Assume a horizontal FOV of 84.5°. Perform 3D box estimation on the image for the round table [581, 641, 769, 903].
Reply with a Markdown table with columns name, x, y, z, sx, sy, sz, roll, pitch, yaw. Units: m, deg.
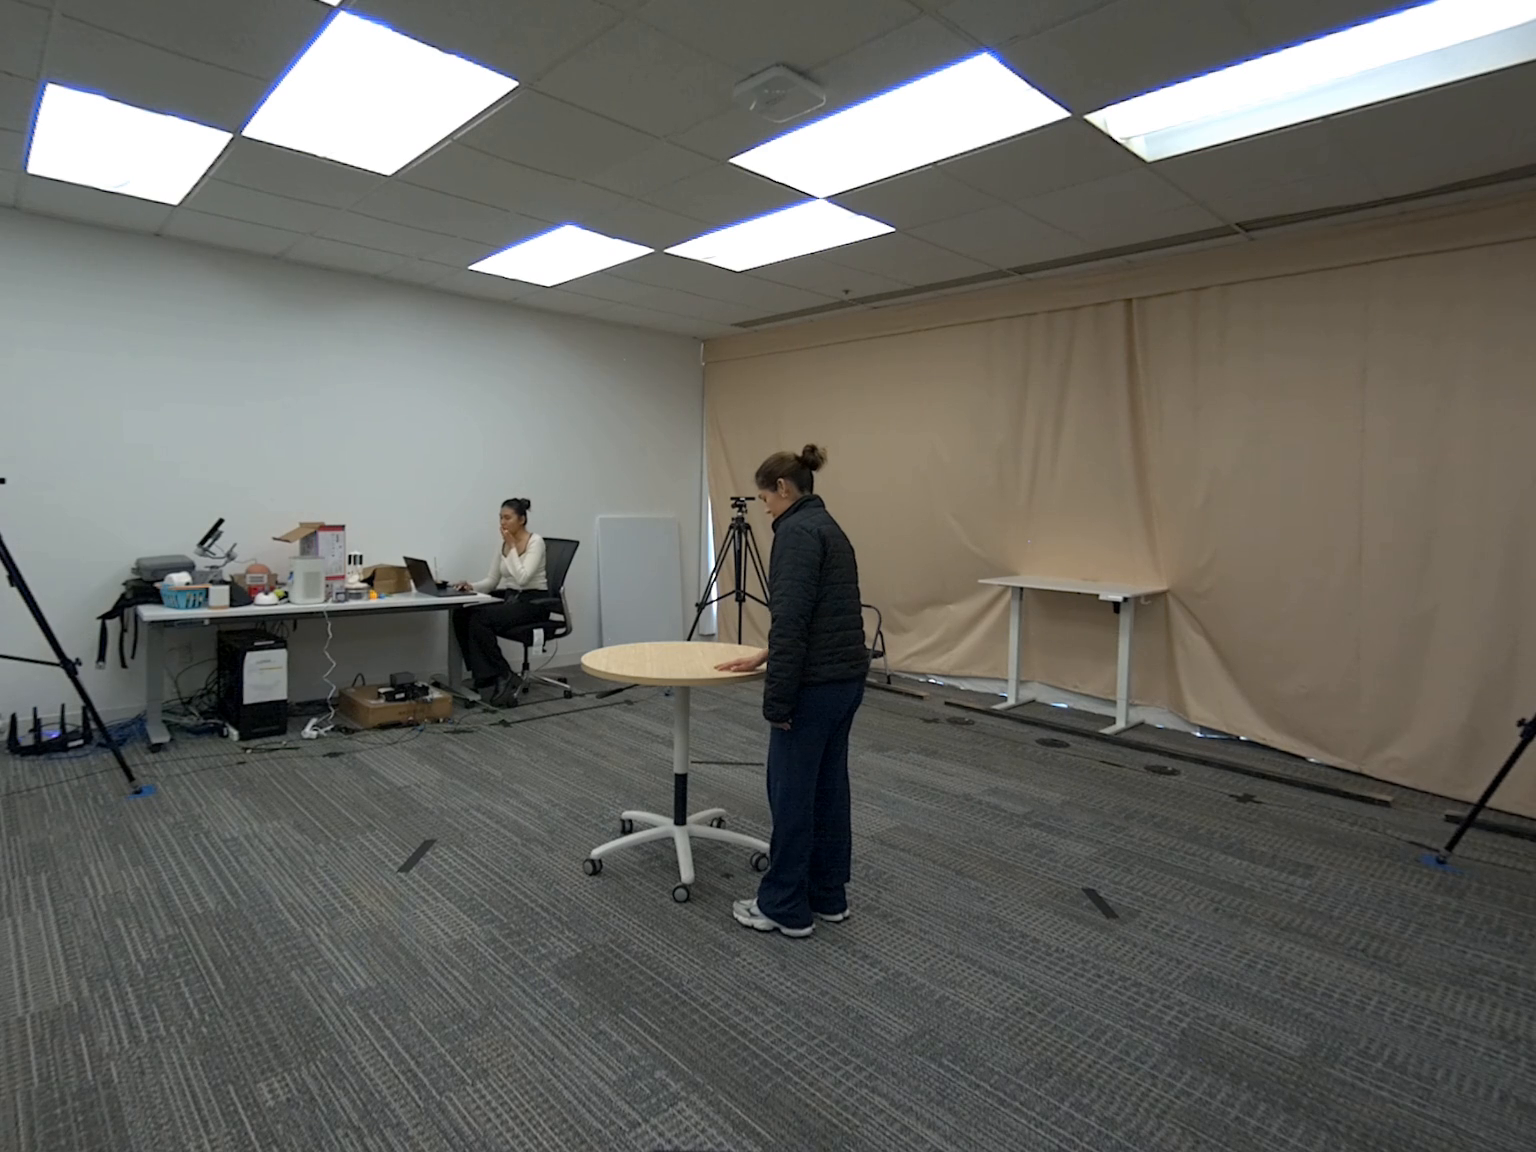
| name | x | y | z | sx | sy | sz | roll | pitch | yaw |
| --- | --- | --- | --- | --- | --- | --- | --- | --- | --- |
| round table | -0.328 | 0.700 | 3.212 | 0.784 | 0.784 | 0.787 | 1 | 4 | -1 |
